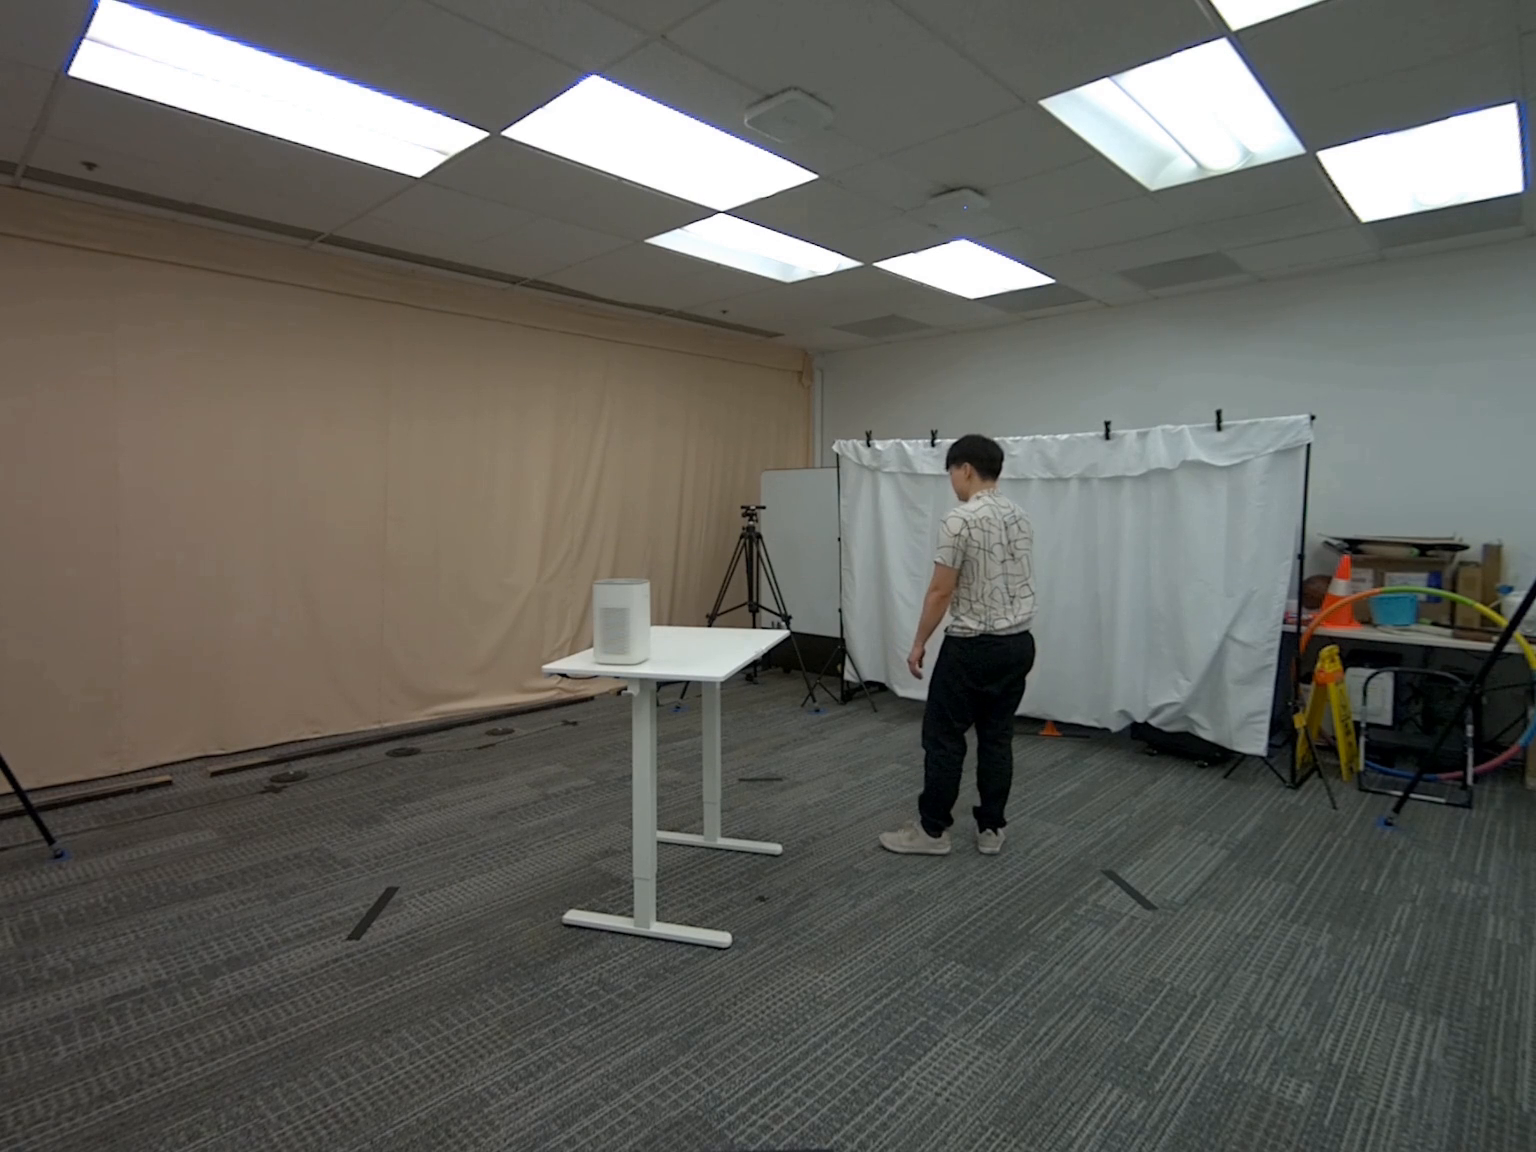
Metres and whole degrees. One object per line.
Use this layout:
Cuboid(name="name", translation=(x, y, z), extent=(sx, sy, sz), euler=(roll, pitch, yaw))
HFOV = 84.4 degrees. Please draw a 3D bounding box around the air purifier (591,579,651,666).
Cuboid(name="air purifier", translation=(-0.479, 0.153, 2.757), extent=(0.173, 0.265, 0.169), euler=(0, 1, 9))
